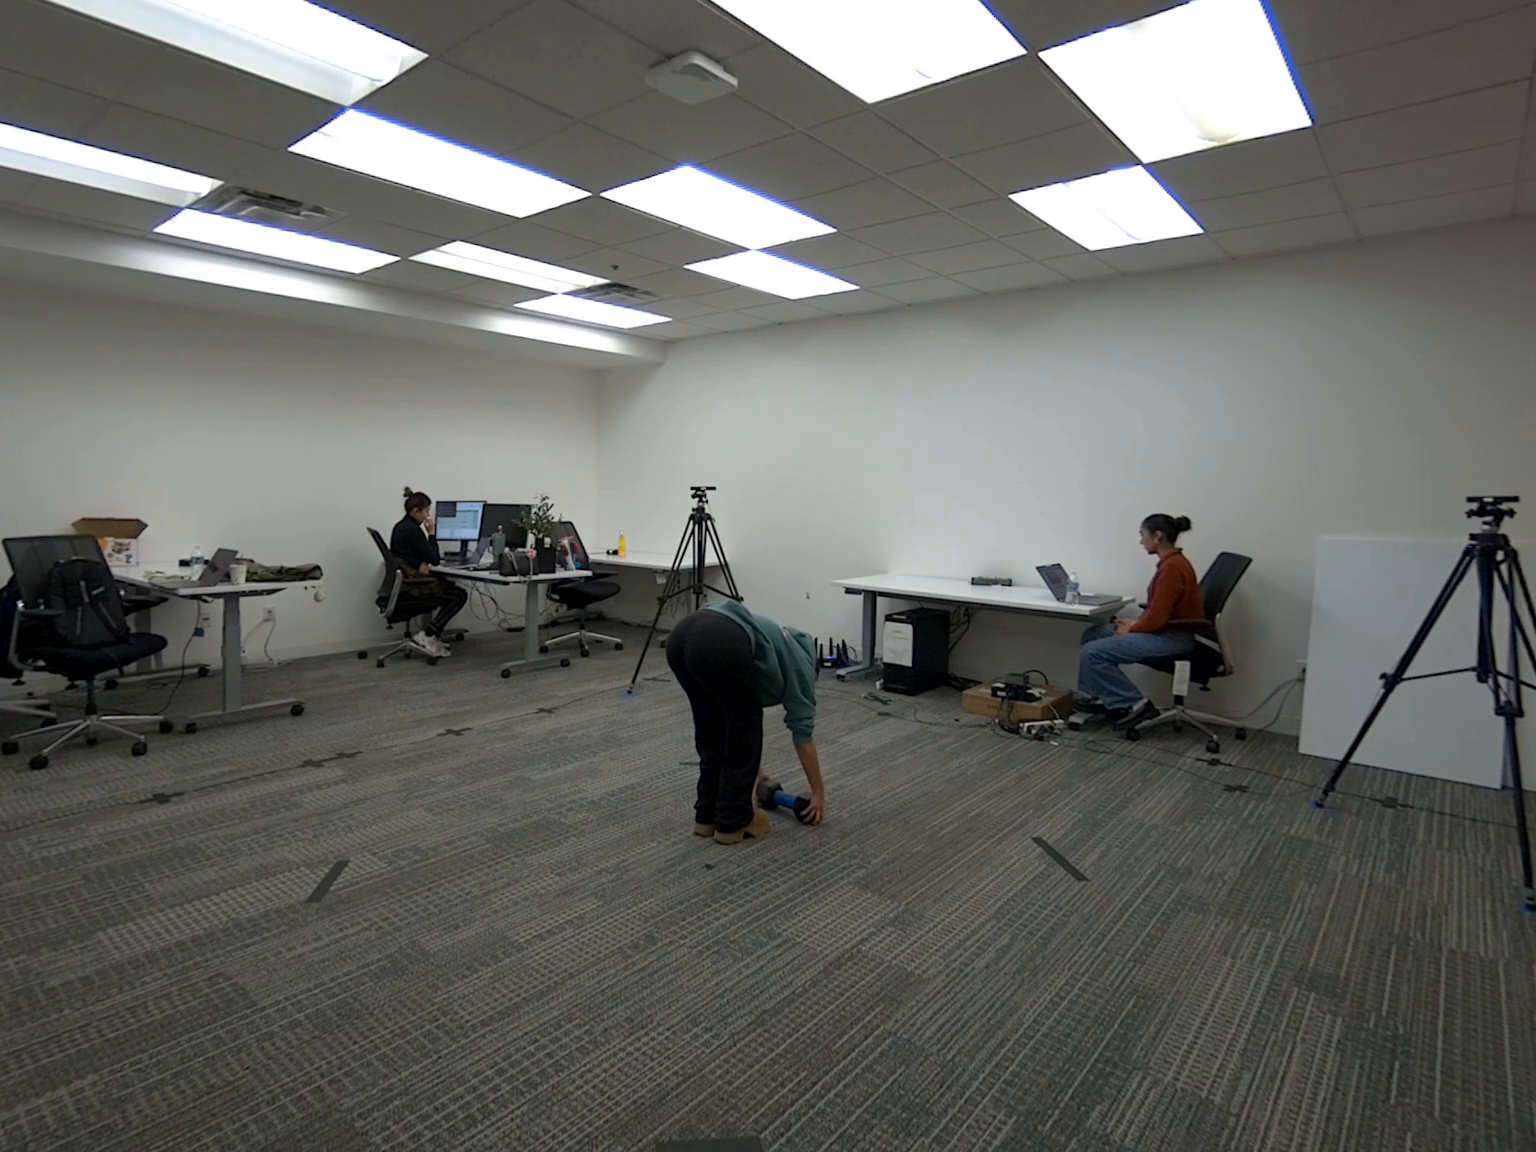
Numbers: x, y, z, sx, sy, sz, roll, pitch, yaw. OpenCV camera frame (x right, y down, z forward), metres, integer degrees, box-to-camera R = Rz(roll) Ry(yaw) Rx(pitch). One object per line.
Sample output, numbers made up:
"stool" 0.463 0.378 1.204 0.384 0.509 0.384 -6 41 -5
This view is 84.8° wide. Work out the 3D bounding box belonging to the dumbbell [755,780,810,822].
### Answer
"dumbbell" 0.078 0.966 3.655 0.304 0.124 0.104 8 -15 41
